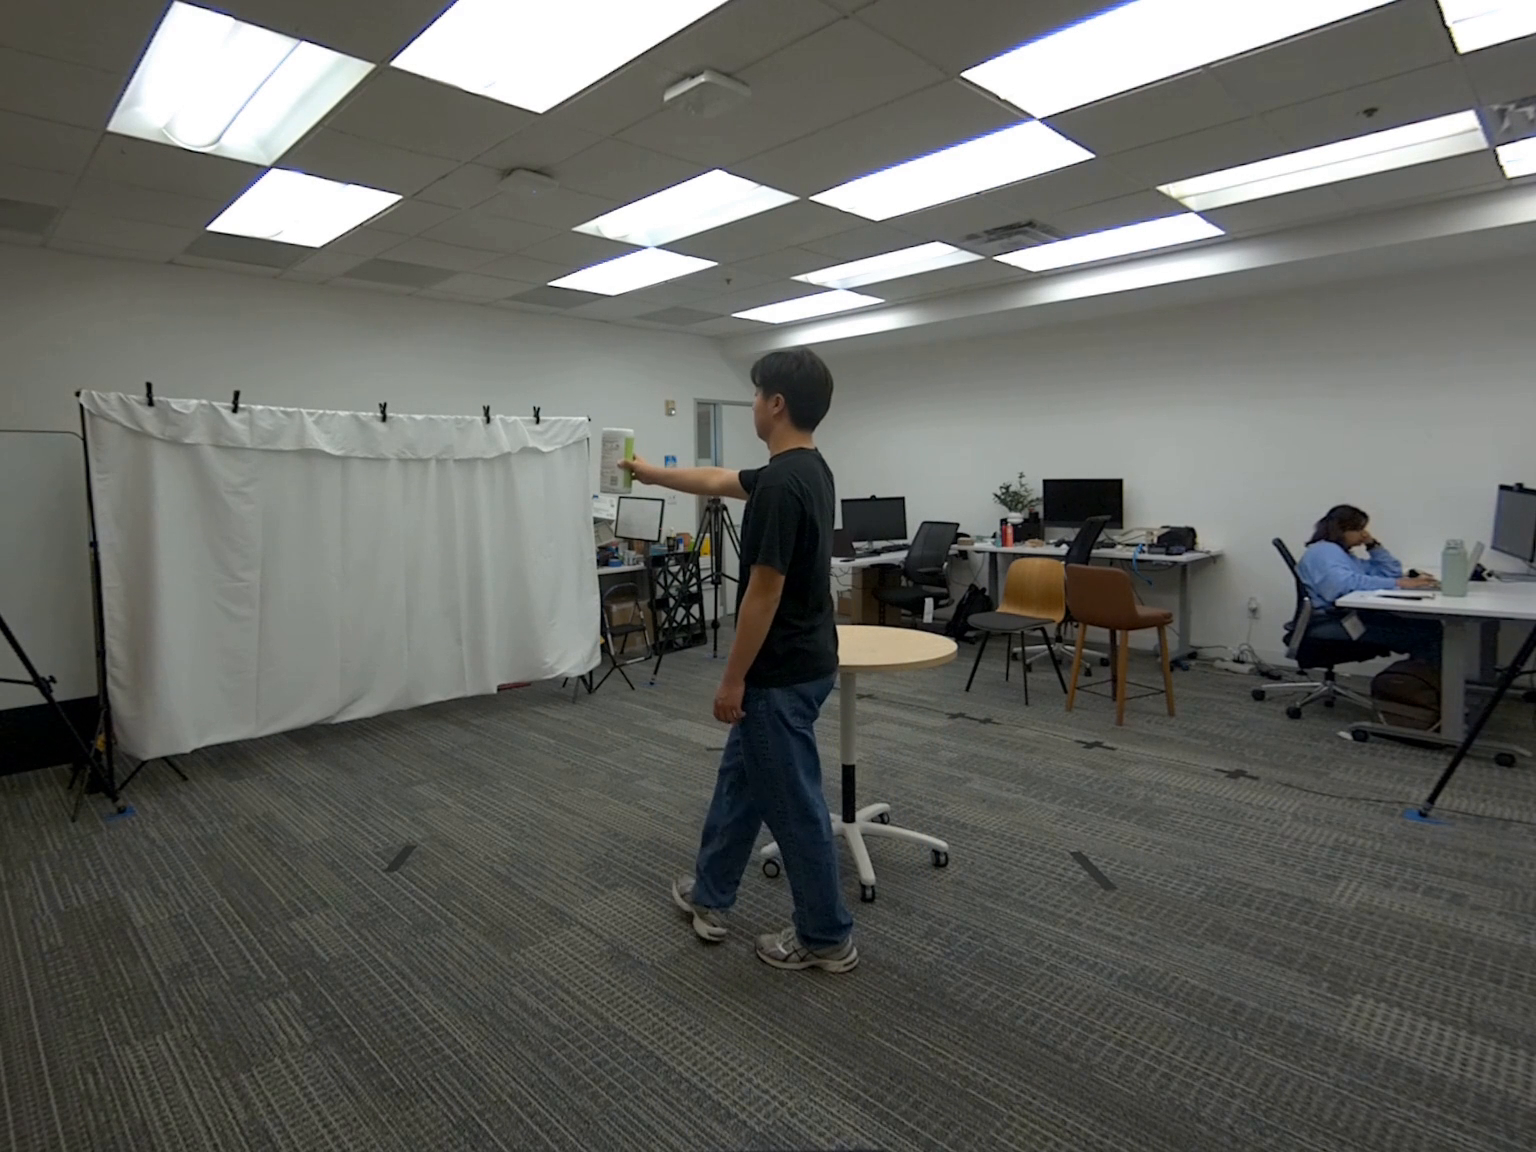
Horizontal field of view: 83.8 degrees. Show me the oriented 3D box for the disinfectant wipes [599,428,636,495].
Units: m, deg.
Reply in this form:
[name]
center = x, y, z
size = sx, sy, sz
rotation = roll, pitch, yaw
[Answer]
[disinfectant wipes]
center = -0.502, -0.385, 2.852
size = 0.117, 0.216, 0.118
rotation = 2, 5, -2
